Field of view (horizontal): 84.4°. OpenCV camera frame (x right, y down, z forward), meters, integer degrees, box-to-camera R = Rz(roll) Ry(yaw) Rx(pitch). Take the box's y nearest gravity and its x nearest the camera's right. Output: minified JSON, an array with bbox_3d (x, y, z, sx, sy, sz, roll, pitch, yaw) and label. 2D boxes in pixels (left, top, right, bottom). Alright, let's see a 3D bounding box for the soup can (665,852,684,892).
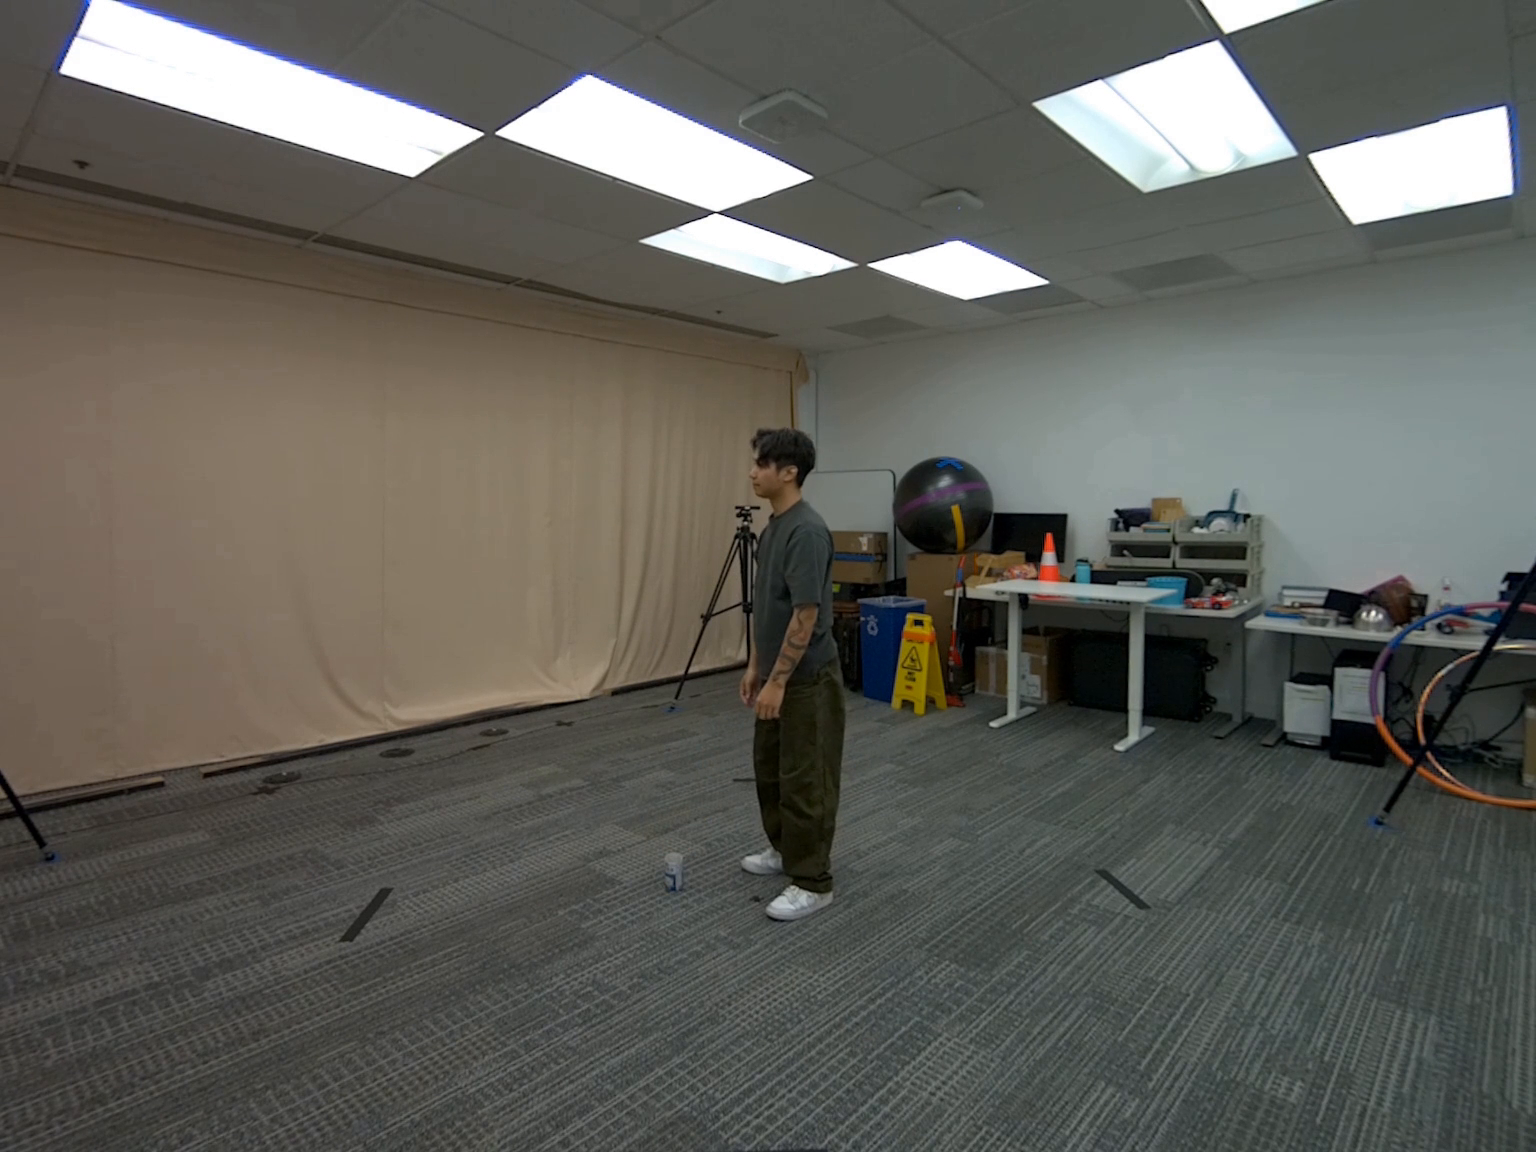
[{"bbox_3d":[-0.336,1.076,3.061,0.067,0.121,0.067,2,4,-2],"label":"soup can"}]
